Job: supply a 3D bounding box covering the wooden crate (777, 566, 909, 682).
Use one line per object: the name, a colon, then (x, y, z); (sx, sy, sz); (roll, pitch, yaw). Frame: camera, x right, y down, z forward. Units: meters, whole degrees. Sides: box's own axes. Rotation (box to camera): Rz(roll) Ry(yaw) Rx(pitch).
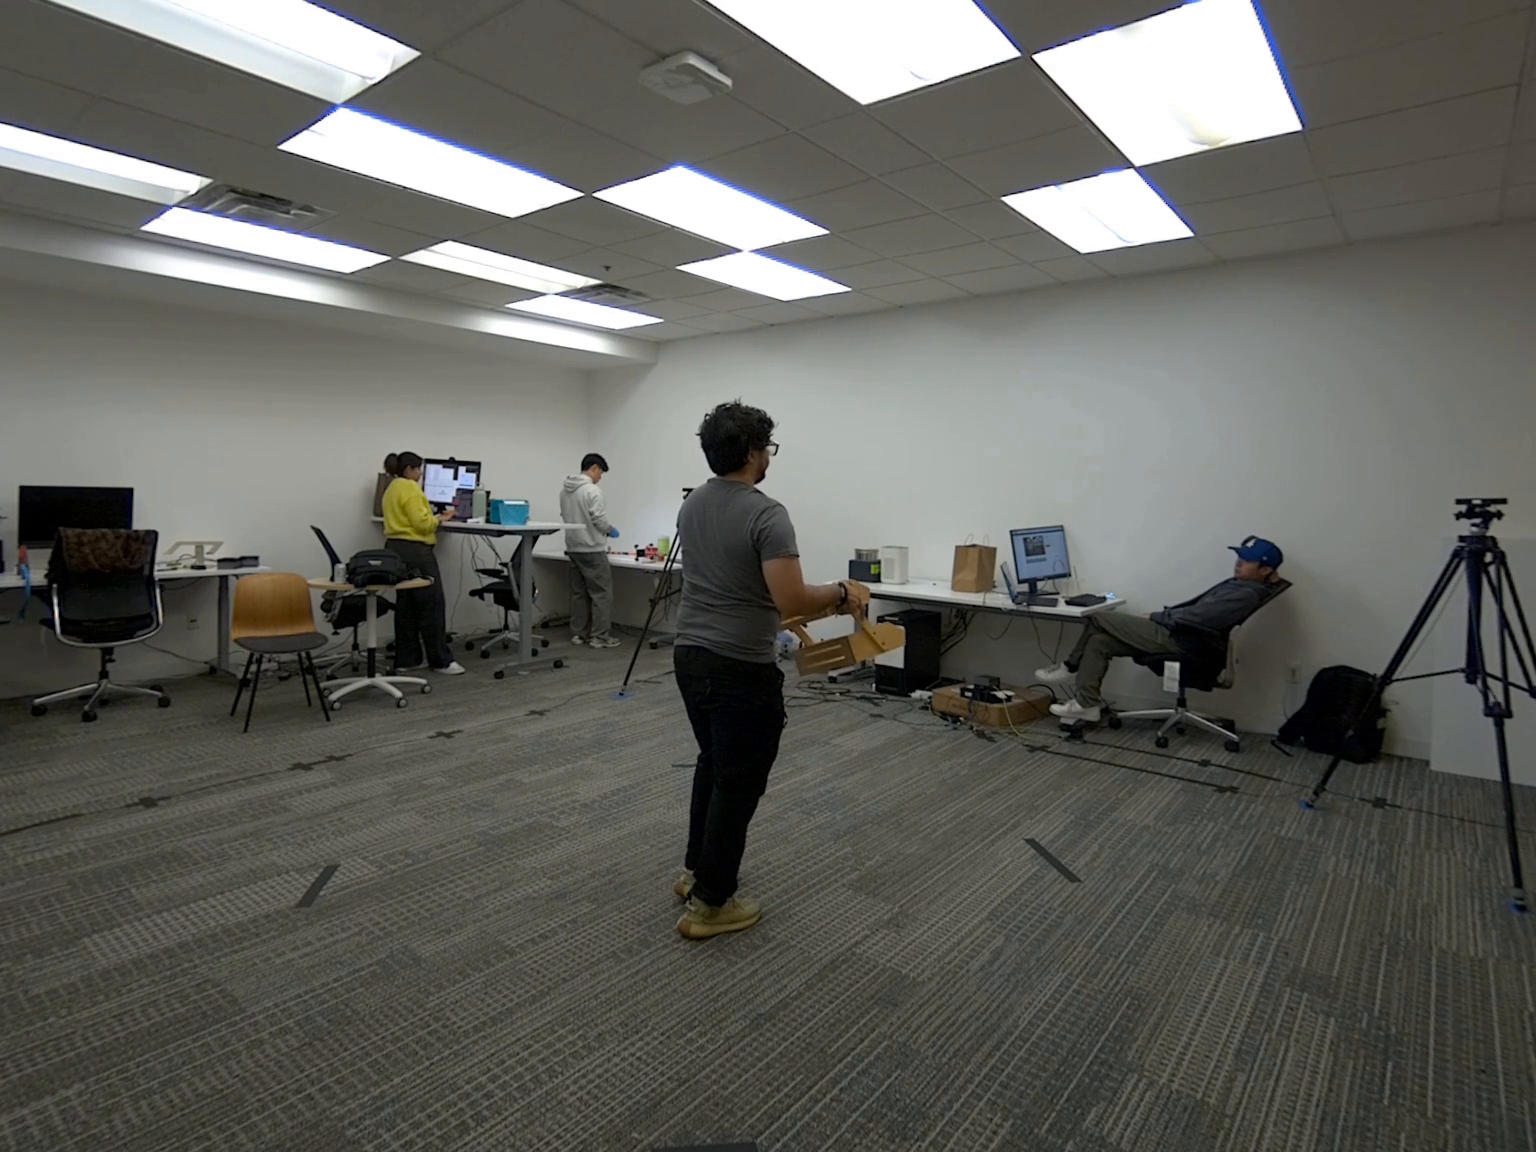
wooden crate: (0.220, 0.166, 2.893); (0.295, 0.276, 0.329); (-14, -7, -36)
